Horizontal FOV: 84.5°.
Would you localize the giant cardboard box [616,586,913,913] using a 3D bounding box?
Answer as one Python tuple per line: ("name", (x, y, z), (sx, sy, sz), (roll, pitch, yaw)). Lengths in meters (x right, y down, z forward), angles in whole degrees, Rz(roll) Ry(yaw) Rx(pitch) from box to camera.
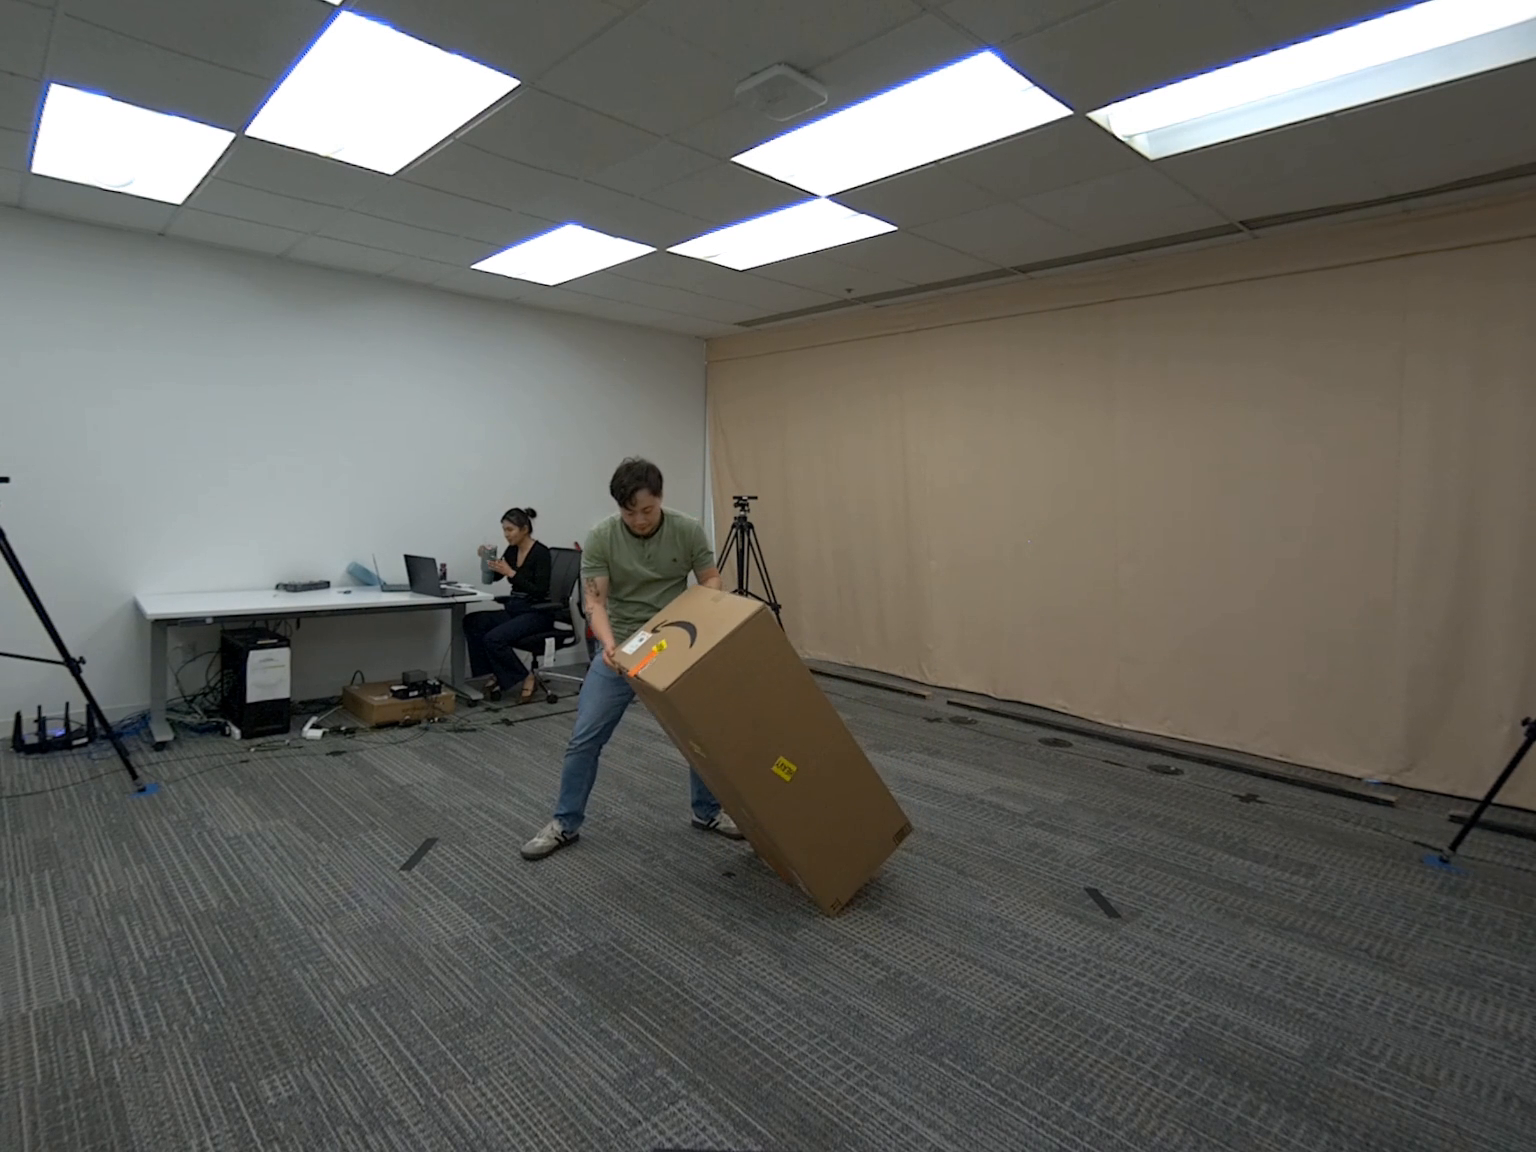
("giant cardboard box", (-0.036, 0.585, 2.958), (0.425, 1.007, 0.590), (-39, 19, -18))
